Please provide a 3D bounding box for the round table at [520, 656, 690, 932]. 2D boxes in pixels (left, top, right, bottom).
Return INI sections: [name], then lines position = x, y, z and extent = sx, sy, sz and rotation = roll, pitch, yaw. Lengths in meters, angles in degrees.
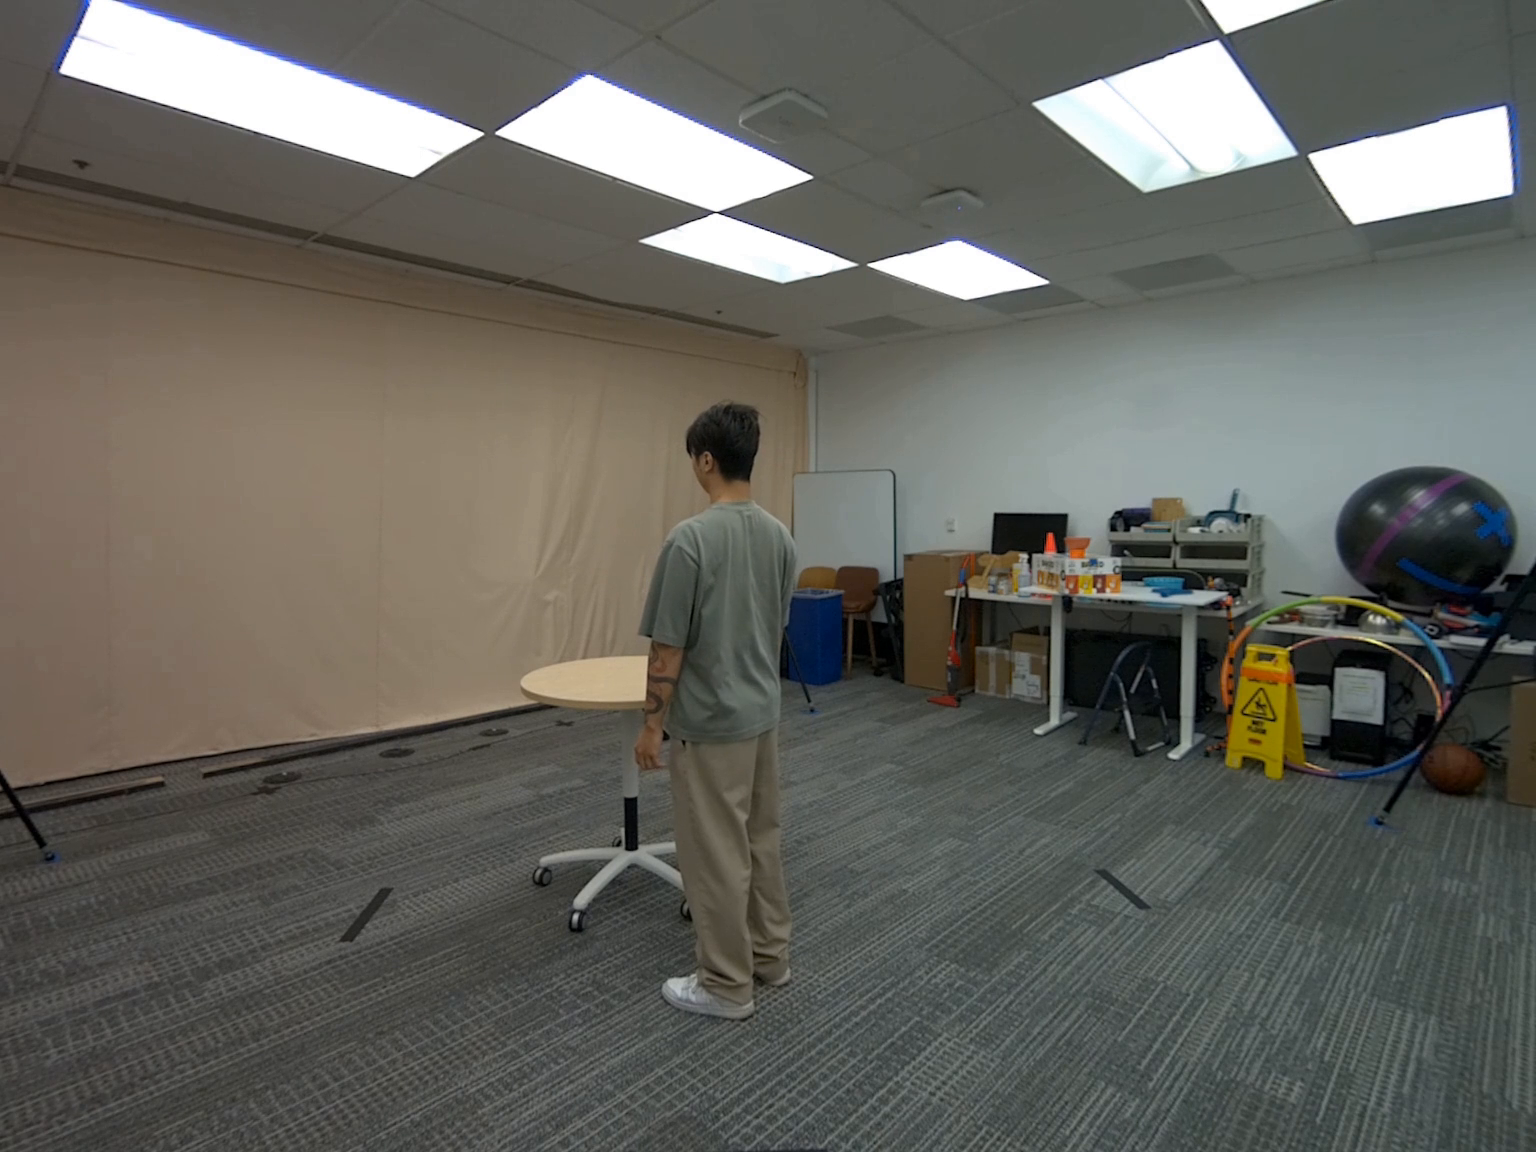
[round table]
position = -0.502, 0.750, 3.078
extent = 0.784, 0.784, 0.788
rotation = -1, 4, -2
